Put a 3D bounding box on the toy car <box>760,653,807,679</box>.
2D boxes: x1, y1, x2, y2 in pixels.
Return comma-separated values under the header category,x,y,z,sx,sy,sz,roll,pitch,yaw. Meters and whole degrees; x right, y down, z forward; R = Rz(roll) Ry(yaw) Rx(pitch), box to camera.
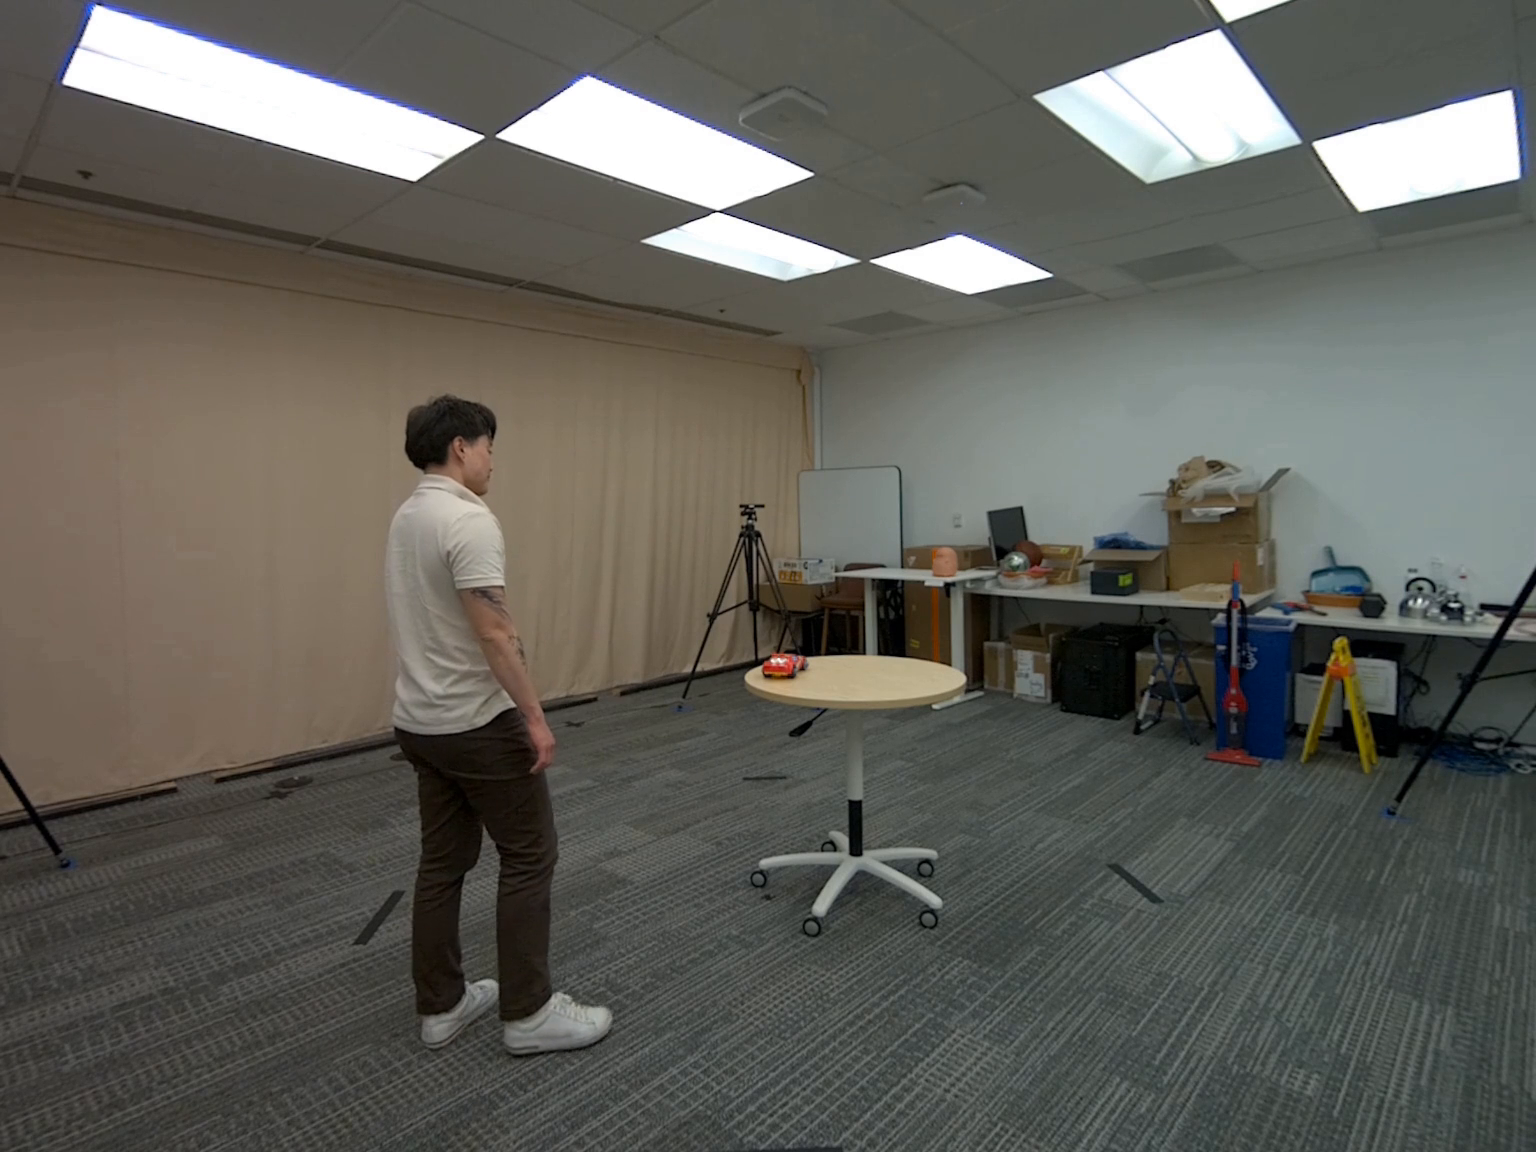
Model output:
category,x,y,z,sx,sy,sz,roll,pitch,yaw
toy car,0.057,0.322,3.008,0.133,0.083,0.248,1,-7,20
